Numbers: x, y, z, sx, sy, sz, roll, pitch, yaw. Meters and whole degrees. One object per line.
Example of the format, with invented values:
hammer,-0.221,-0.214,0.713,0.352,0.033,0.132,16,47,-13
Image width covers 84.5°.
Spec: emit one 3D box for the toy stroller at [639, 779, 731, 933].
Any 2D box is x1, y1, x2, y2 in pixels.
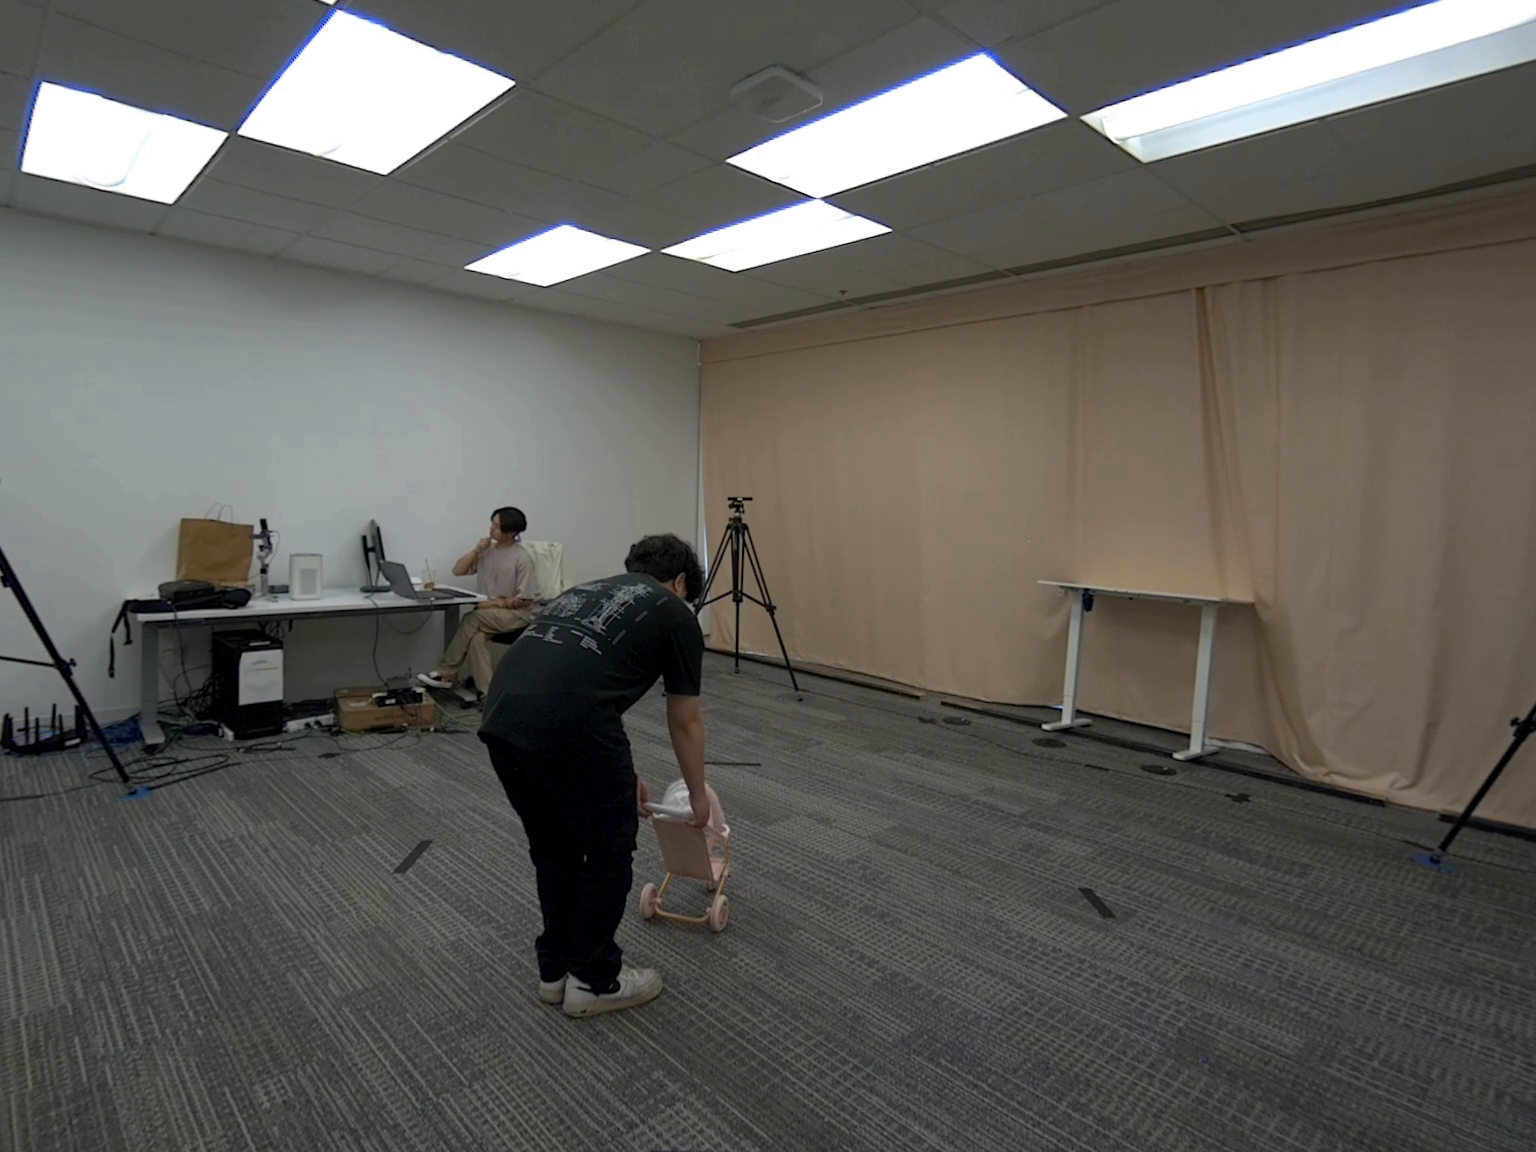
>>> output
toy stroller,-0.254,0.909,2.798,0.286,0.528,0.340,4,19,21
